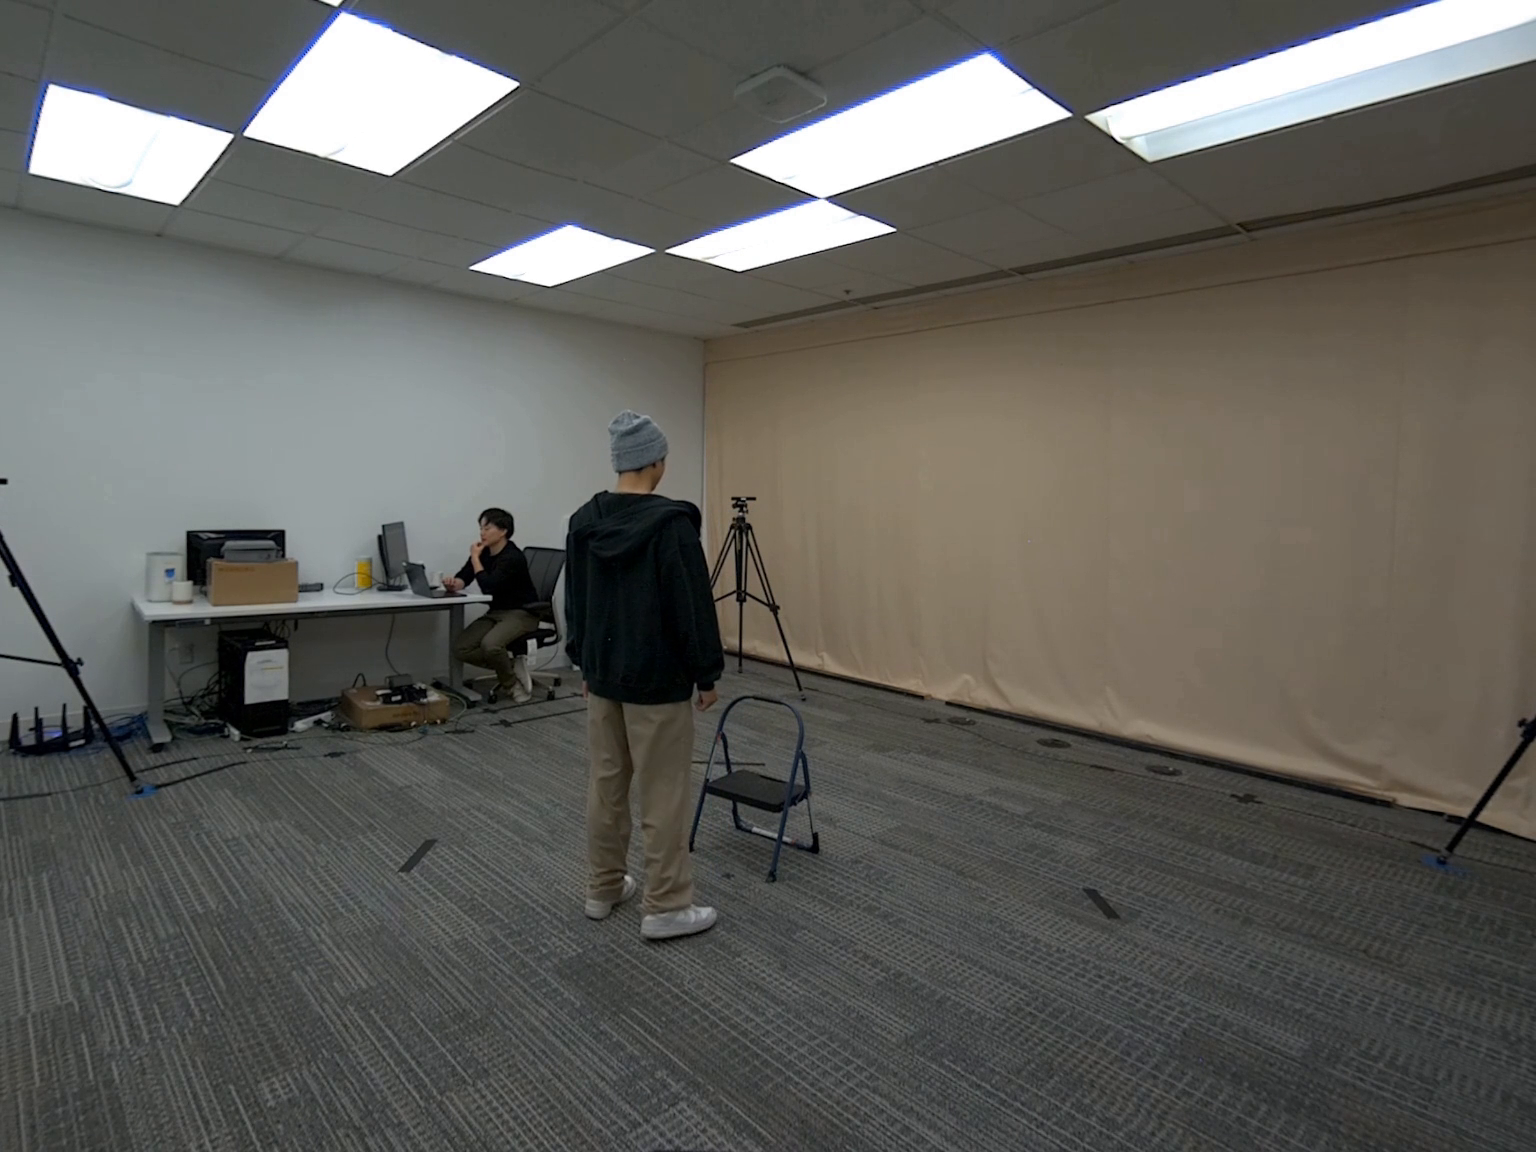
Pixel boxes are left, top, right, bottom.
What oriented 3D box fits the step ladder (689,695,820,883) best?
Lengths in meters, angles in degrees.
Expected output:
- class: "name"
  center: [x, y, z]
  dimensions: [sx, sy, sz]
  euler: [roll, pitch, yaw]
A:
- class: "step ladder"
  center: [-0.056, 0.788, 3.305]
  dimensions: [0.441, 0.604, 0.342]
  euler: [4, 4, 36]
